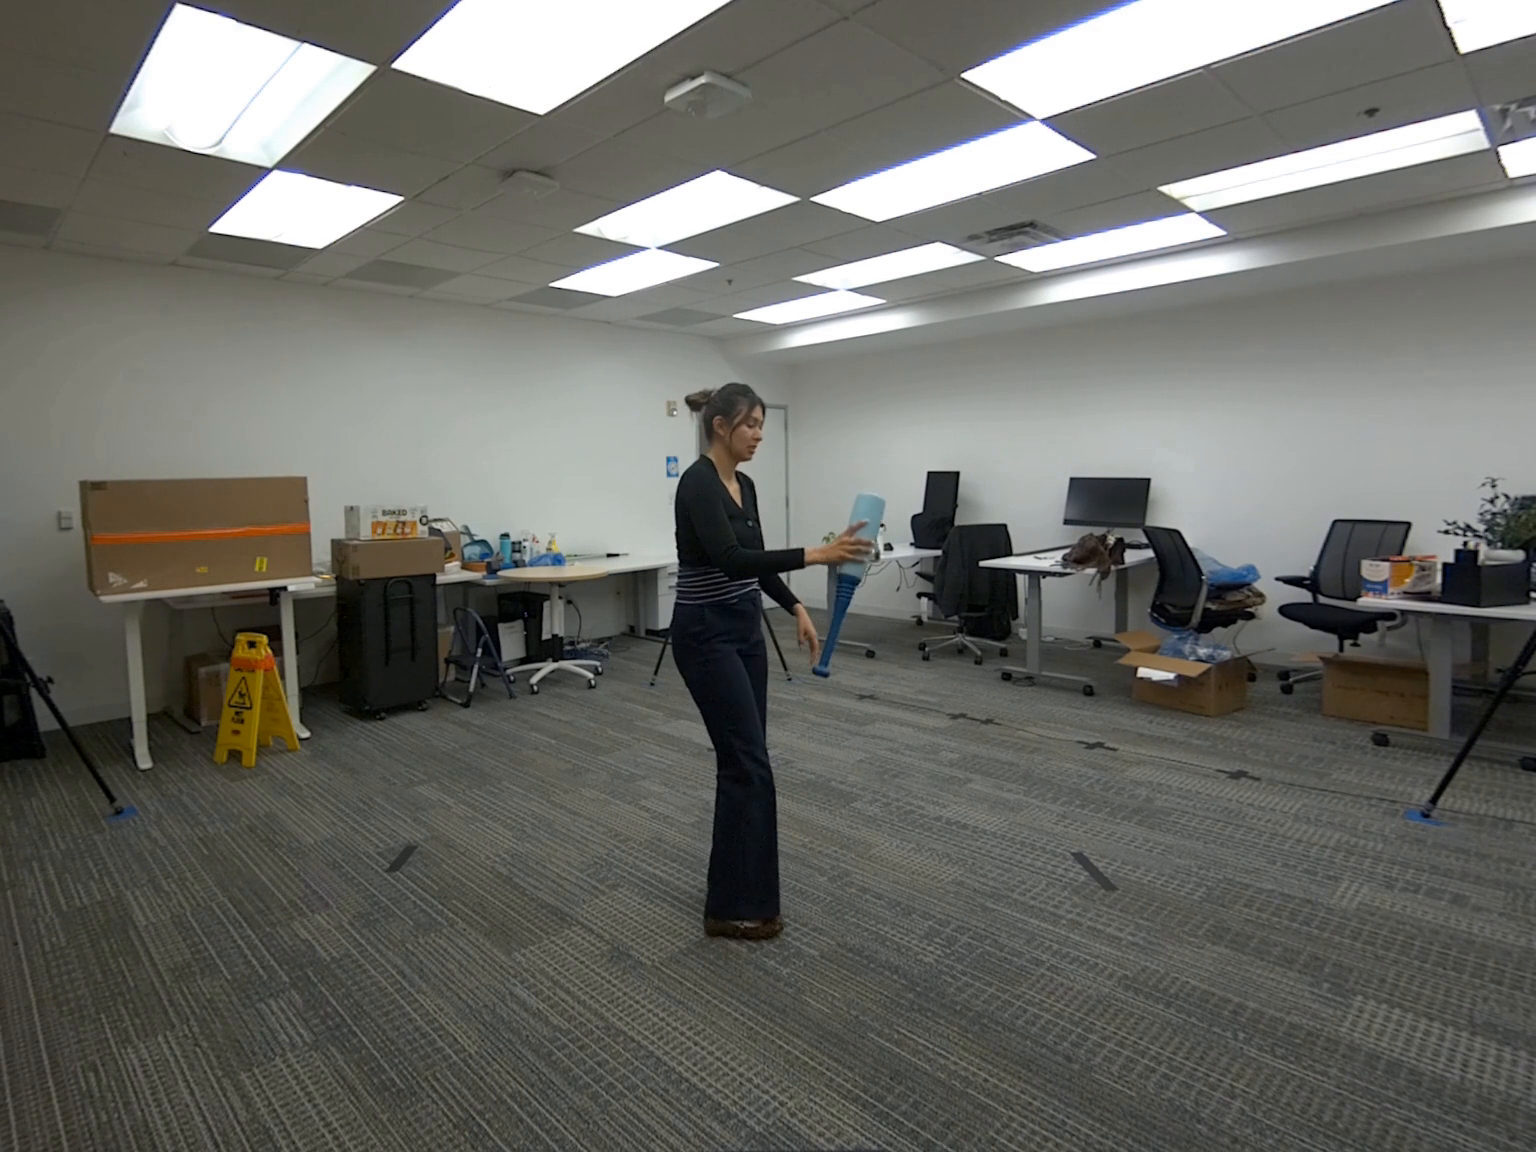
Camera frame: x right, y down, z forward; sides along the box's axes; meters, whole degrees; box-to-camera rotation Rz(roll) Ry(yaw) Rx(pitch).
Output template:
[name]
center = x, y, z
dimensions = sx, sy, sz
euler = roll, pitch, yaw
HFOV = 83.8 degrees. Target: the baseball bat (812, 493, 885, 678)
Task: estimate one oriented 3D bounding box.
[baseball bat]
center = 0.222, 0.029, 2.409
dimensions = 0.089, 0.547, 0.088
euler = 16, -13, 2
